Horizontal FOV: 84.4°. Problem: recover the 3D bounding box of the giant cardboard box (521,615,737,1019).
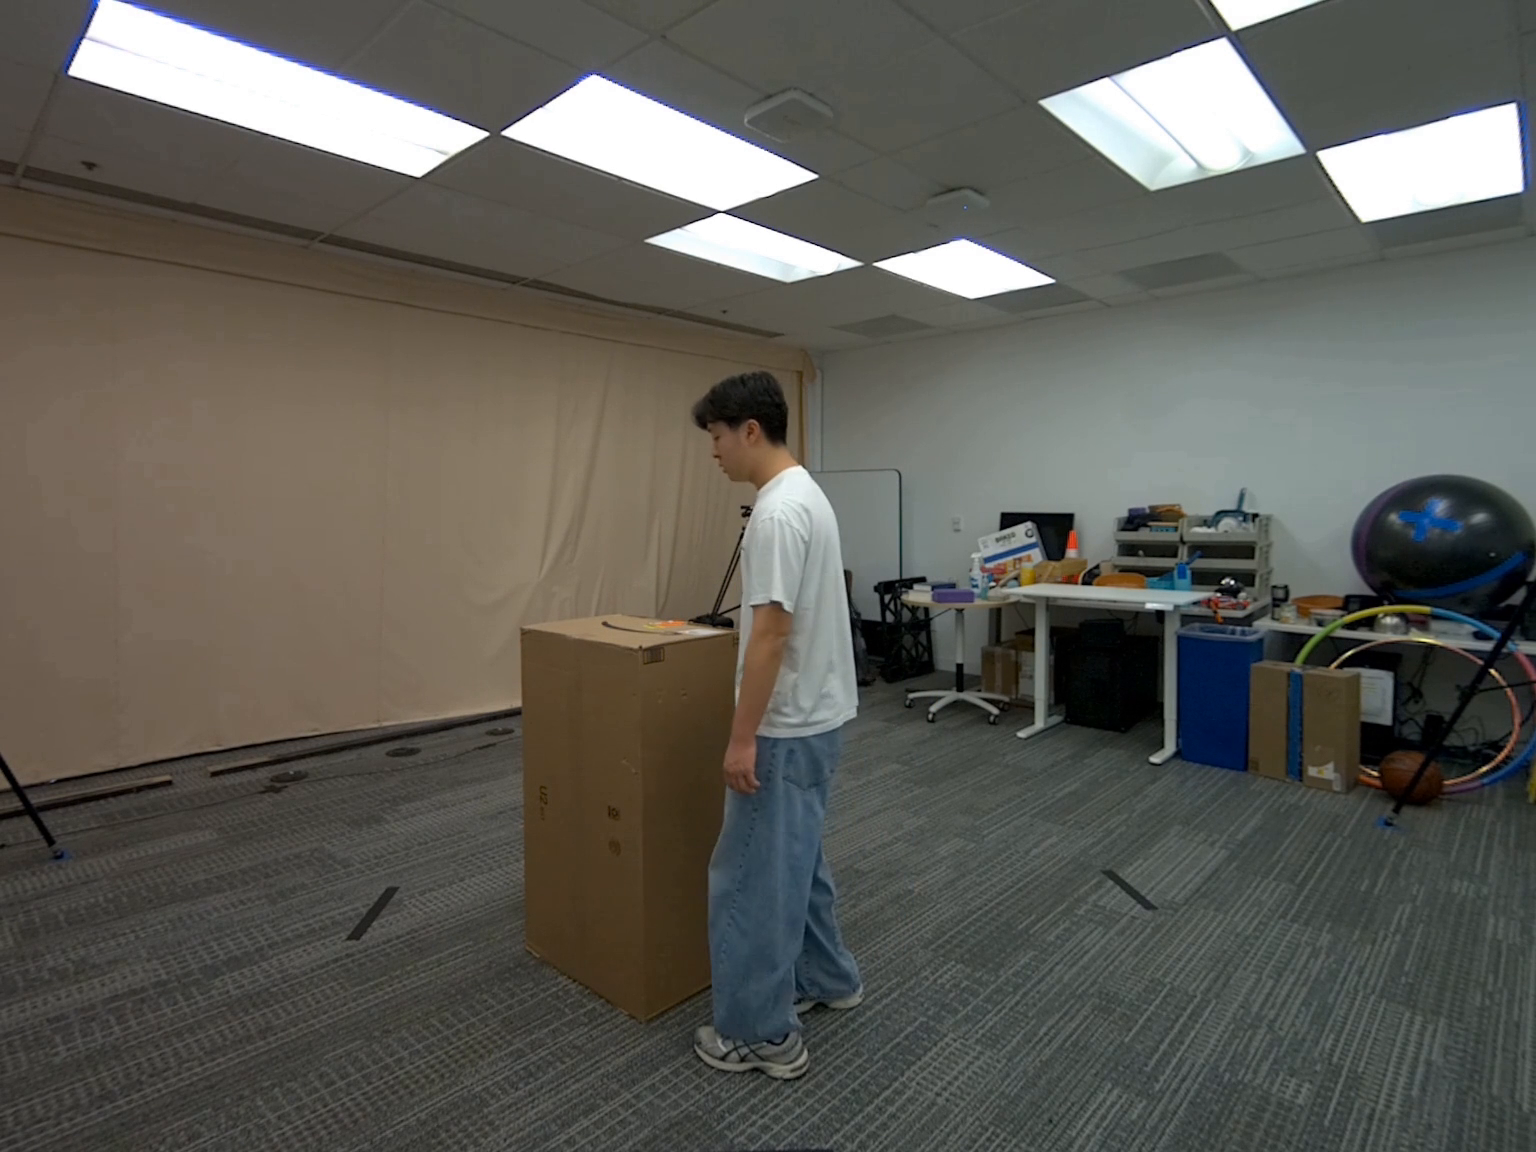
[{"bbox_3d":[-0.415,0.672,2.587,0.597,1.024,0.413,3,4,43],"label":"giant cardboard box"}]
